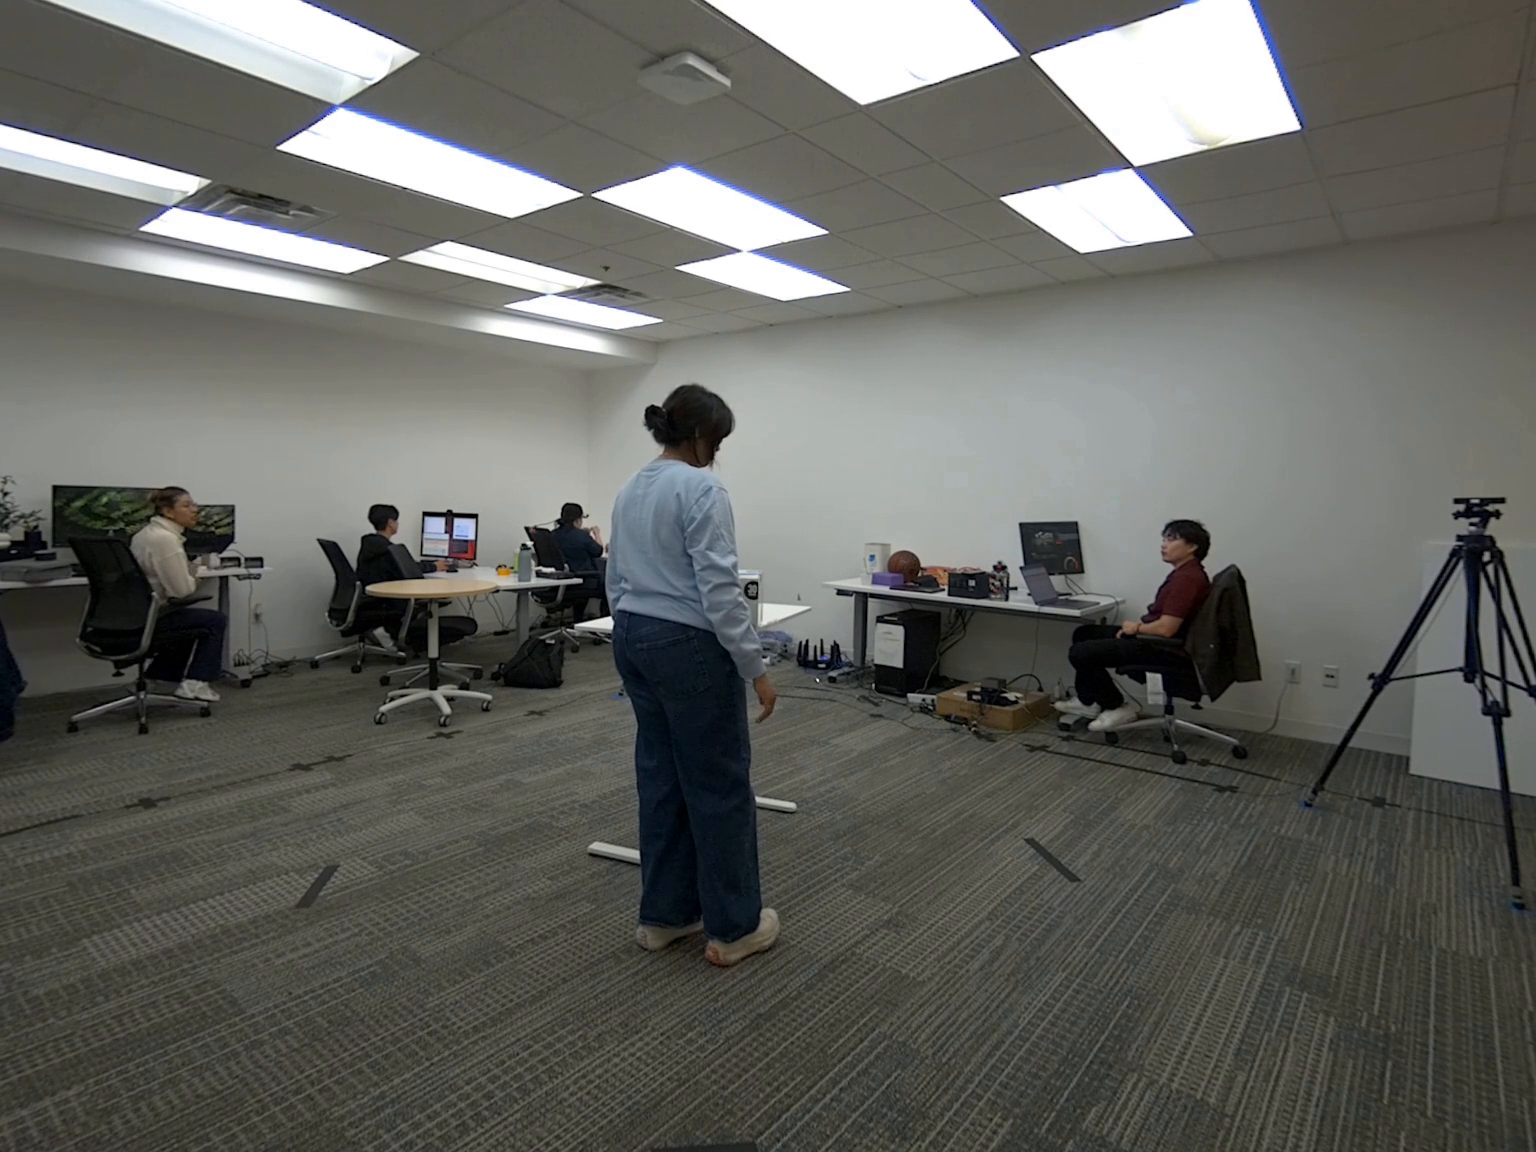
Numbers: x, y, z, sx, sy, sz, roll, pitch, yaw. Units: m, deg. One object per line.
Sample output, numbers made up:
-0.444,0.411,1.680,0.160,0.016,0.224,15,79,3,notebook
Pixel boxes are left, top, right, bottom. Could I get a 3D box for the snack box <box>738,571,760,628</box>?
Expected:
-0.234,0.088,3.085,0.407,0.205,0.339,2,5,4,snack box
